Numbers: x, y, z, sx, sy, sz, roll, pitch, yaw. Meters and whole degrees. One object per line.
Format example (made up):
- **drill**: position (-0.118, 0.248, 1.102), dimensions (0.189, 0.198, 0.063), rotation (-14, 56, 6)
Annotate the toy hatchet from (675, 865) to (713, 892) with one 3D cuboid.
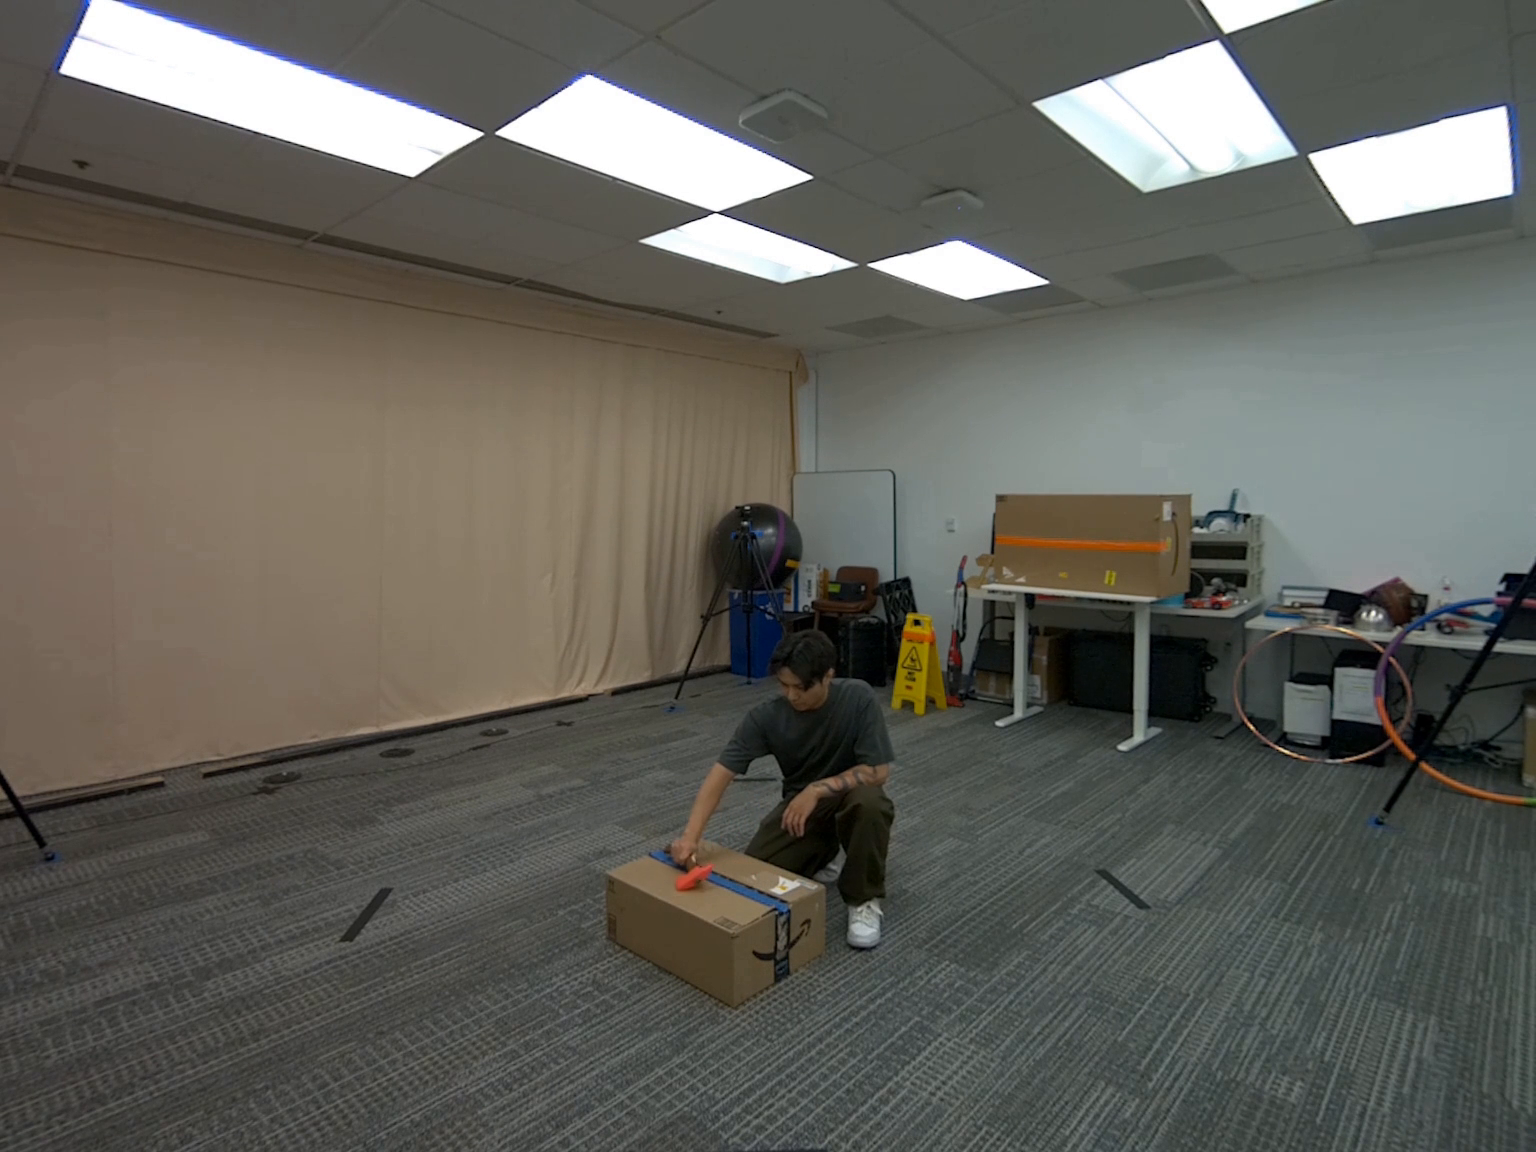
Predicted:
- **toy hatchet**: position (-0.284, 0.927, 2.688), dimensions (0.129, 0.029, 0.277), rotation (-38, 18, -31)
